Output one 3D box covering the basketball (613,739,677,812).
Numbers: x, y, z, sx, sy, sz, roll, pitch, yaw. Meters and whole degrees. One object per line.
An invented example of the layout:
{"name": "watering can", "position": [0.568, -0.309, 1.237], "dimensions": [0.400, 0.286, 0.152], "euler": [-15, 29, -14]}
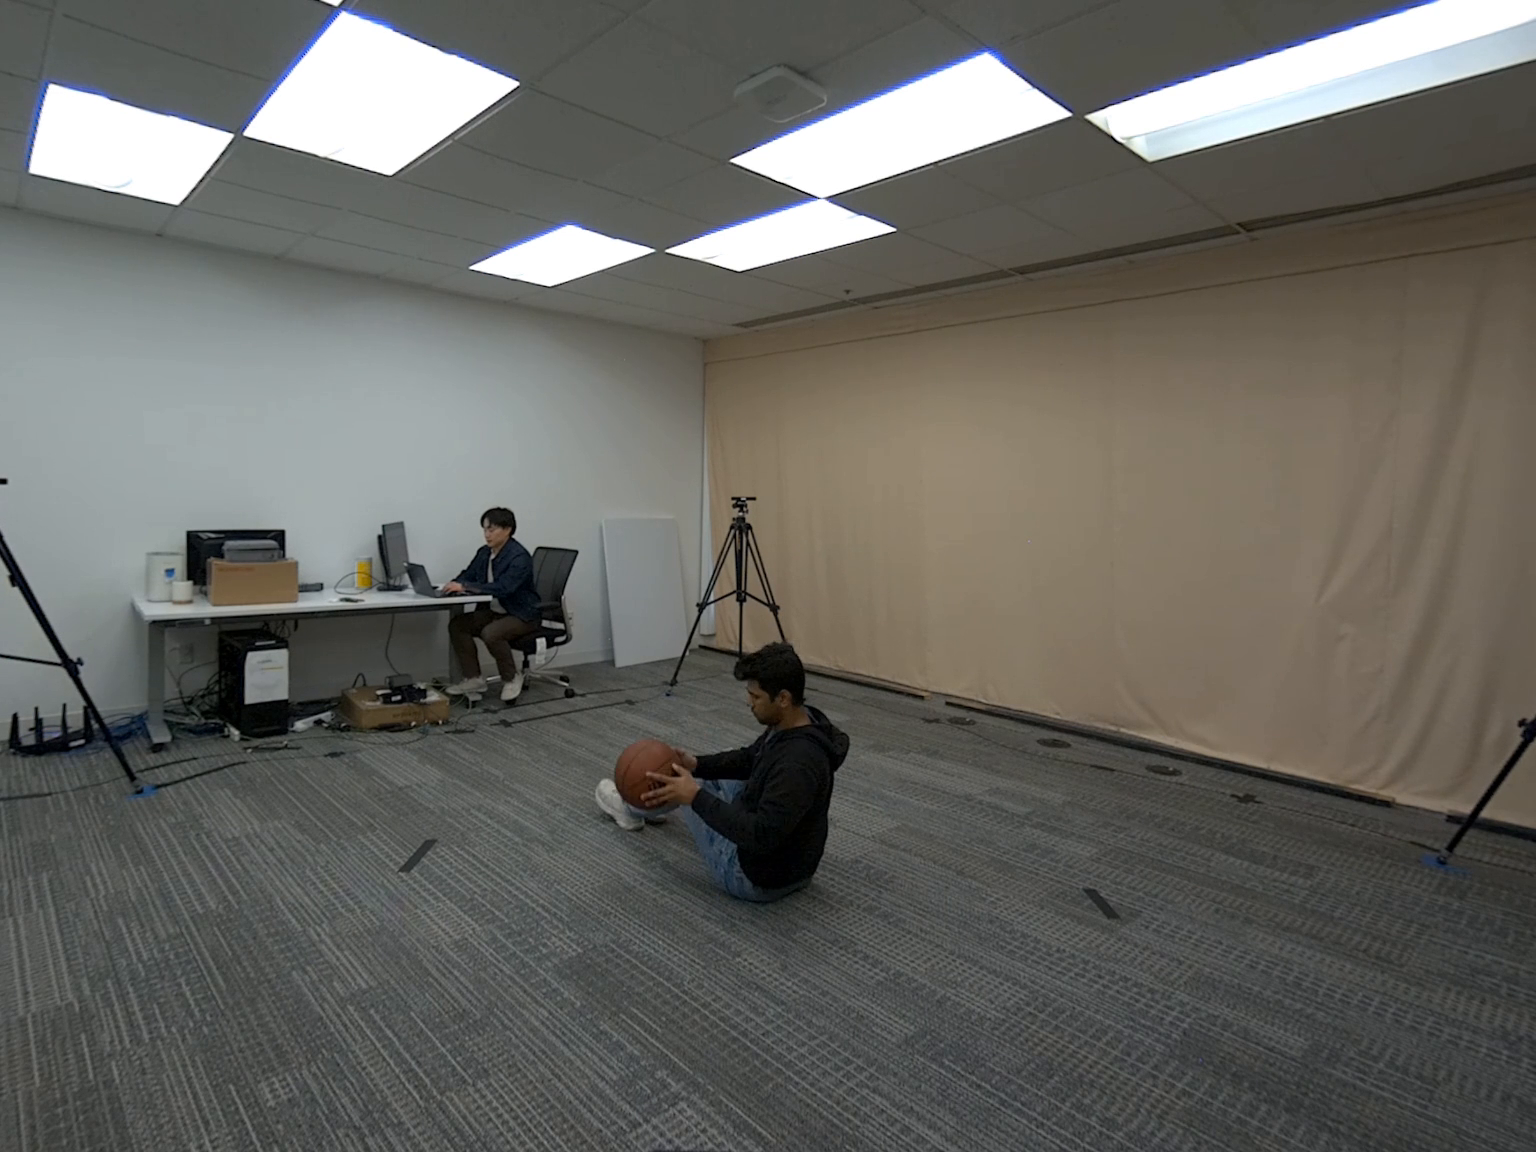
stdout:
{"name": "basketball", "position": [-0.398, 0.693, 2.938], "dimensions": [0.236, 0.235, 0.237], "euler": [1, 4, -1]}
